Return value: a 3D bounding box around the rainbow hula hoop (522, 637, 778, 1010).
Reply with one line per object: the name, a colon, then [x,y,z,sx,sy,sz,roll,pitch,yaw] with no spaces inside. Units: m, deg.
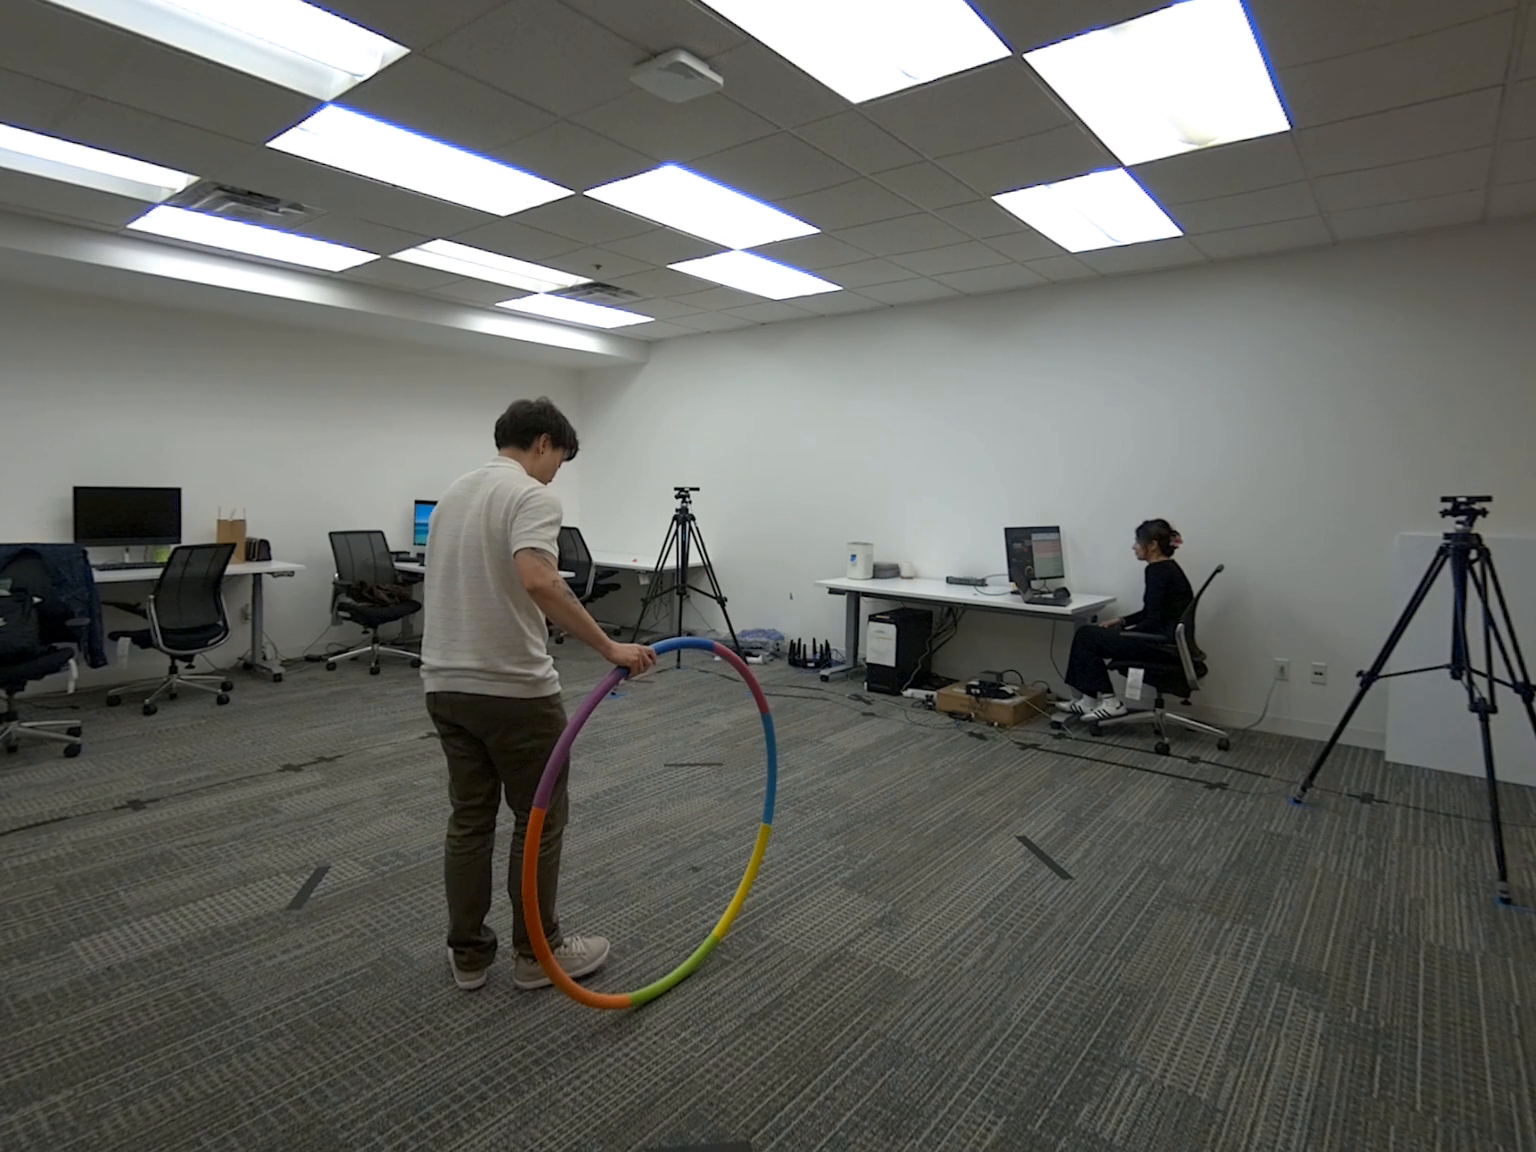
rainbow hula hoop: [-0.278,0.656,2.337,0.037,0.975,0.950,3,5,37]
